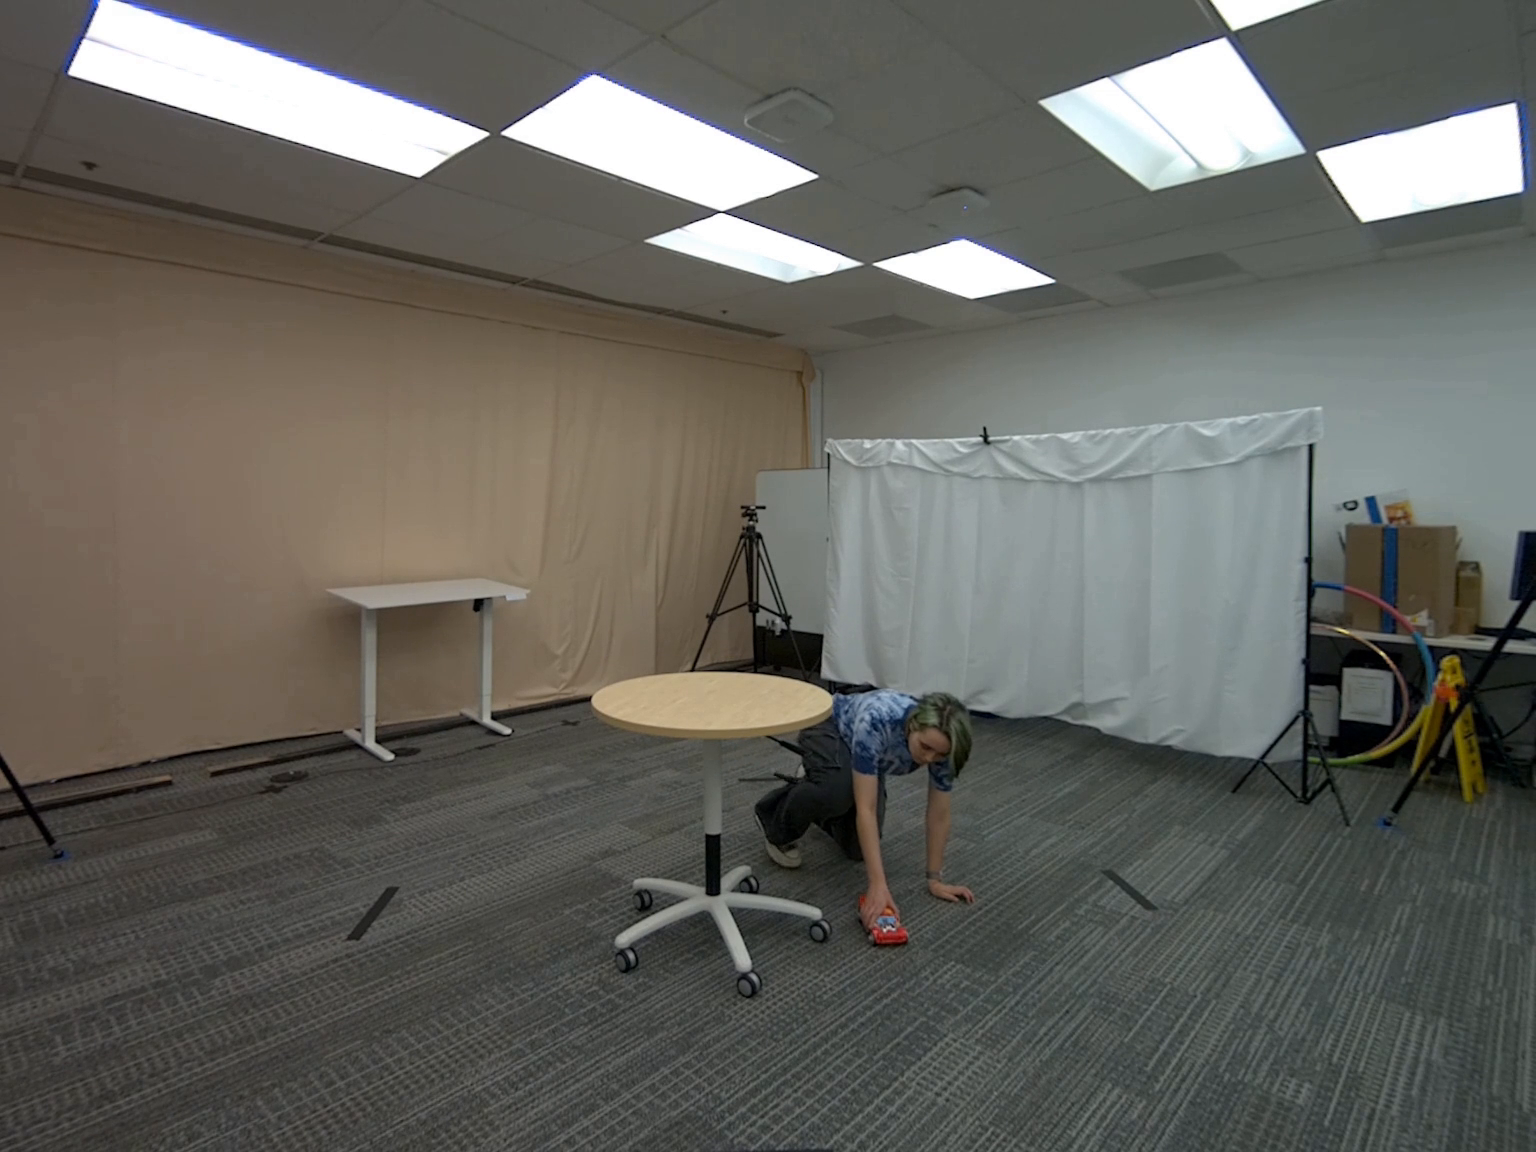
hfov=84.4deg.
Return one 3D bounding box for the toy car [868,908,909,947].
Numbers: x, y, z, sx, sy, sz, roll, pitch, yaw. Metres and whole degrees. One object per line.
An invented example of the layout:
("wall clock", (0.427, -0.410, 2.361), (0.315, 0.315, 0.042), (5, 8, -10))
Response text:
("toy car", (0.373, 1.128, 2.764), (0.129, 0.082, 0.259), (-2, 16, -8))
